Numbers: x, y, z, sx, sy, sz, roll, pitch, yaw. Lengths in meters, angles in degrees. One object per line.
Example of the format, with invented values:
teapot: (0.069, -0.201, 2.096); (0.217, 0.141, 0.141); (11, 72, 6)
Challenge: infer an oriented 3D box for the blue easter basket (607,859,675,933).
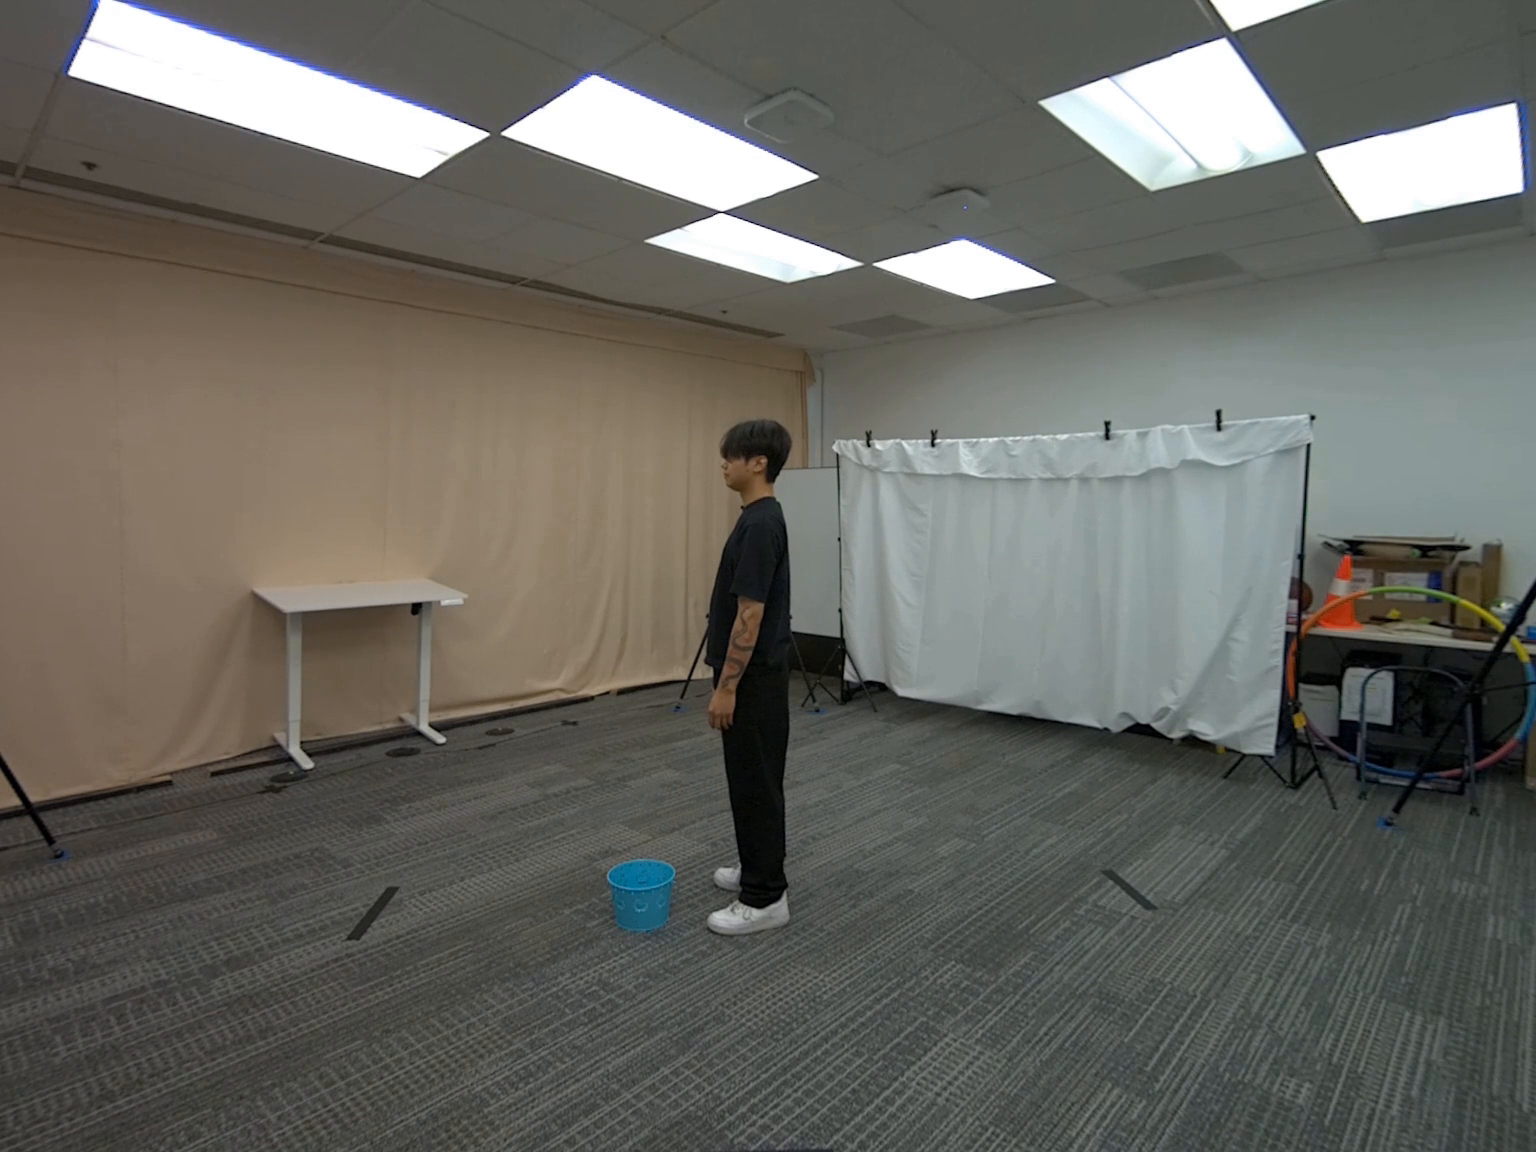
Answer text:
blue easter basket: (-0.420, 1.081, 2.846); (0.243, 0.155, 0.244); (-1, 4, -2)
